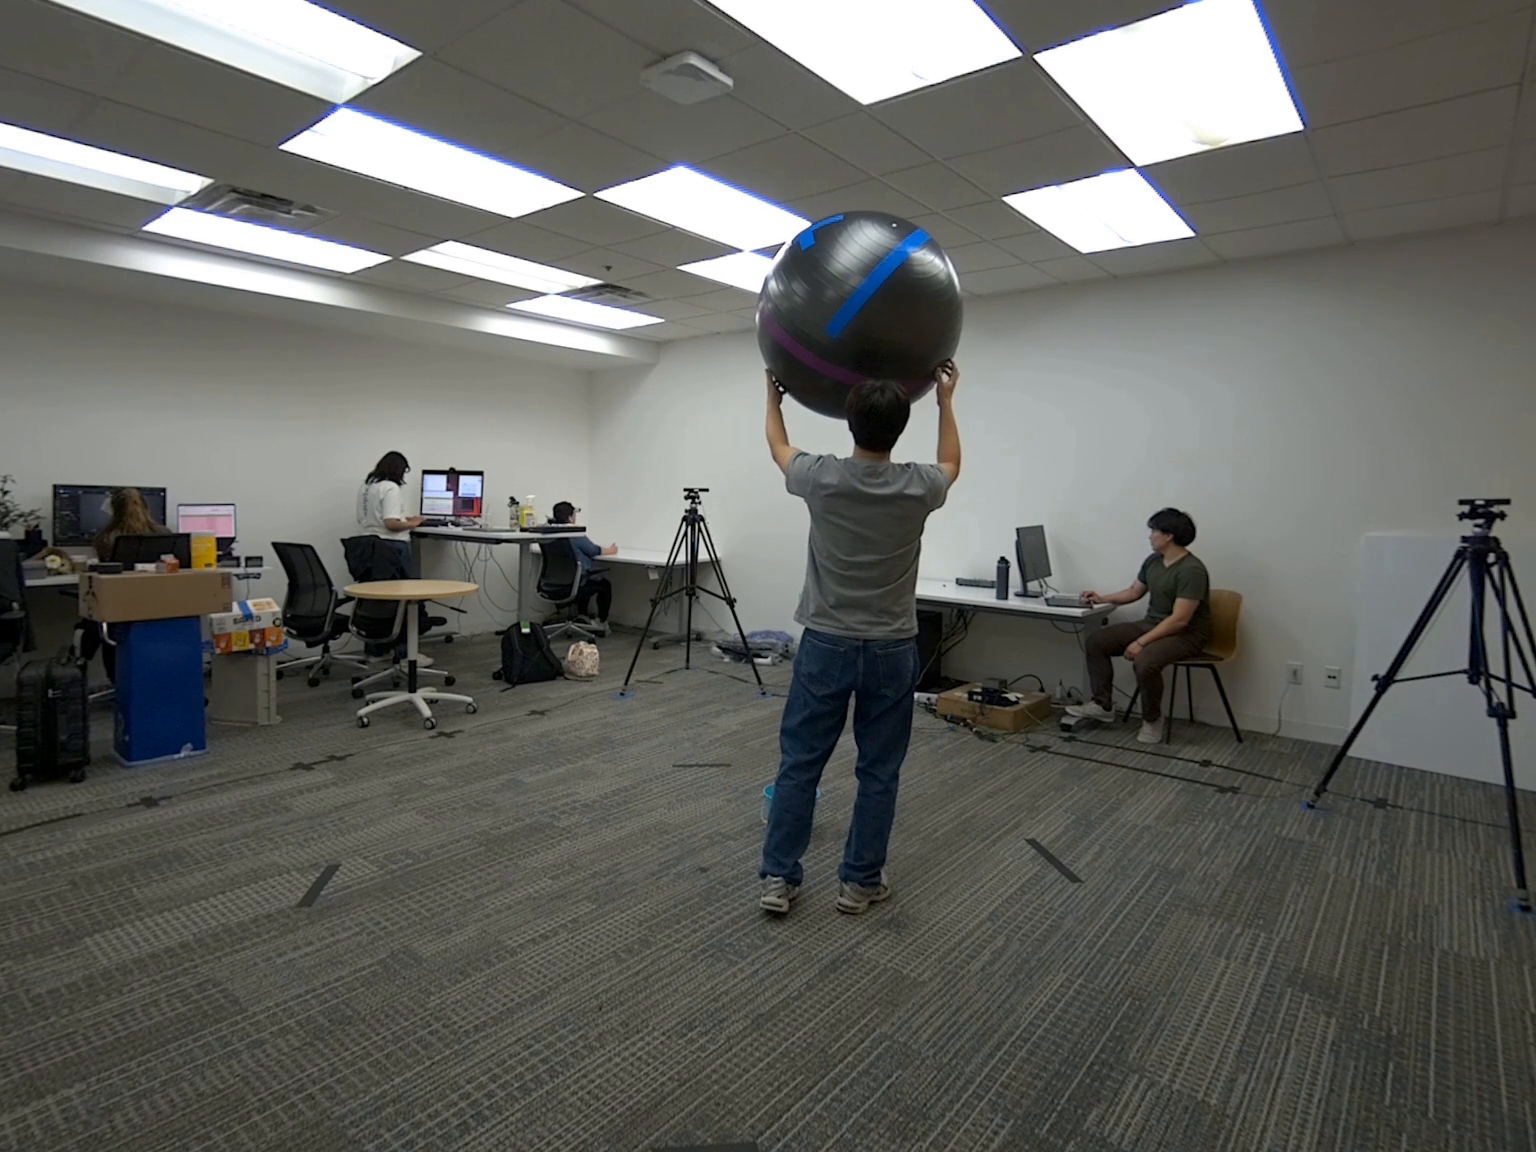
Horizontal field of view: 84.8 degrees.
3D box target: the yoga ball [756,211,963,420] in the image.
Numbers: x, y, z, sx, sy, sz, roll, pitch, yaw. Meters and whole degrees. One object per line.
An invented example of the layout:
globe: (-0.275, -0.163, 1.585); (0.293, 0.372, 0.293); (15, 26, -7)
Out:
yoga ball: (0.325, -0.963, 3.180); (0.757, 0.756, 0.761); (1, 4, -2)
